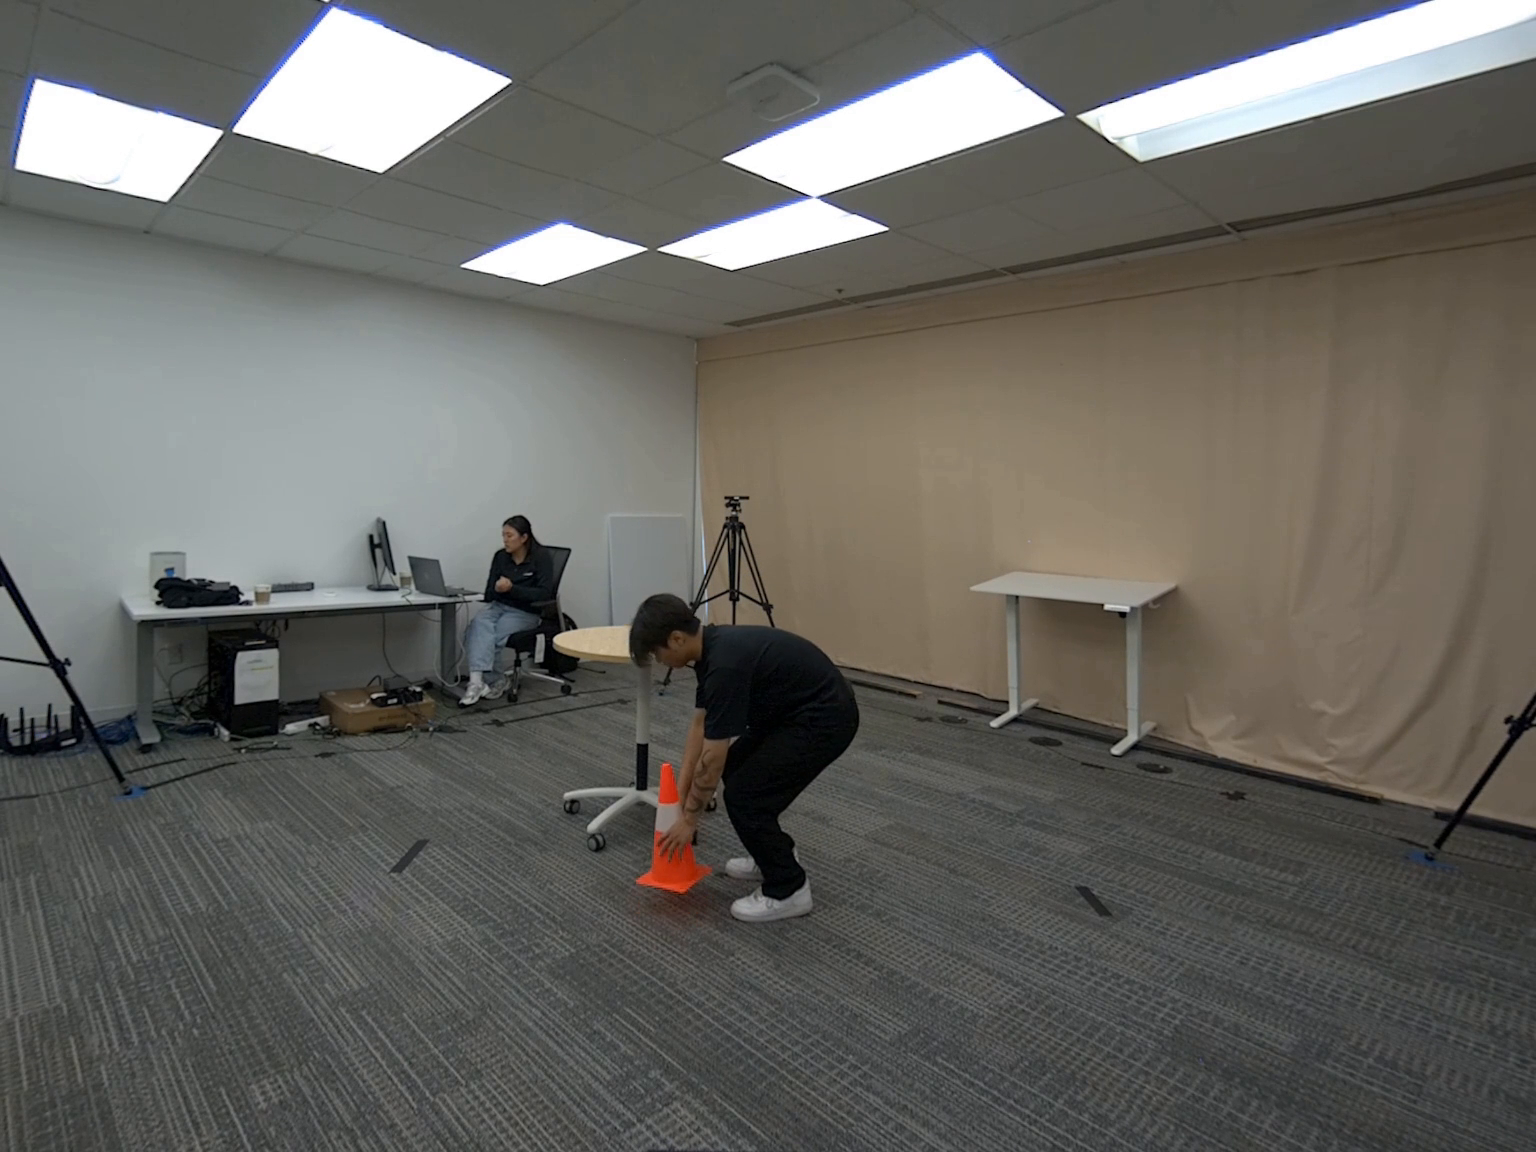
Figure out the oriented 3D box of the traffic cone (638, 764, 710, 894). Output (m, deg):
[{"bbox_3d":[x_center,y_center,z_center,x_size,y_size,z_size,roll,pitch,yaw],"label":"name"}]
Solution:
[{"bbox_3d":[-0.340,0.837,2.860,0.209,0.384,0.199,-3,0,35],"label":"traffic cone"}]
